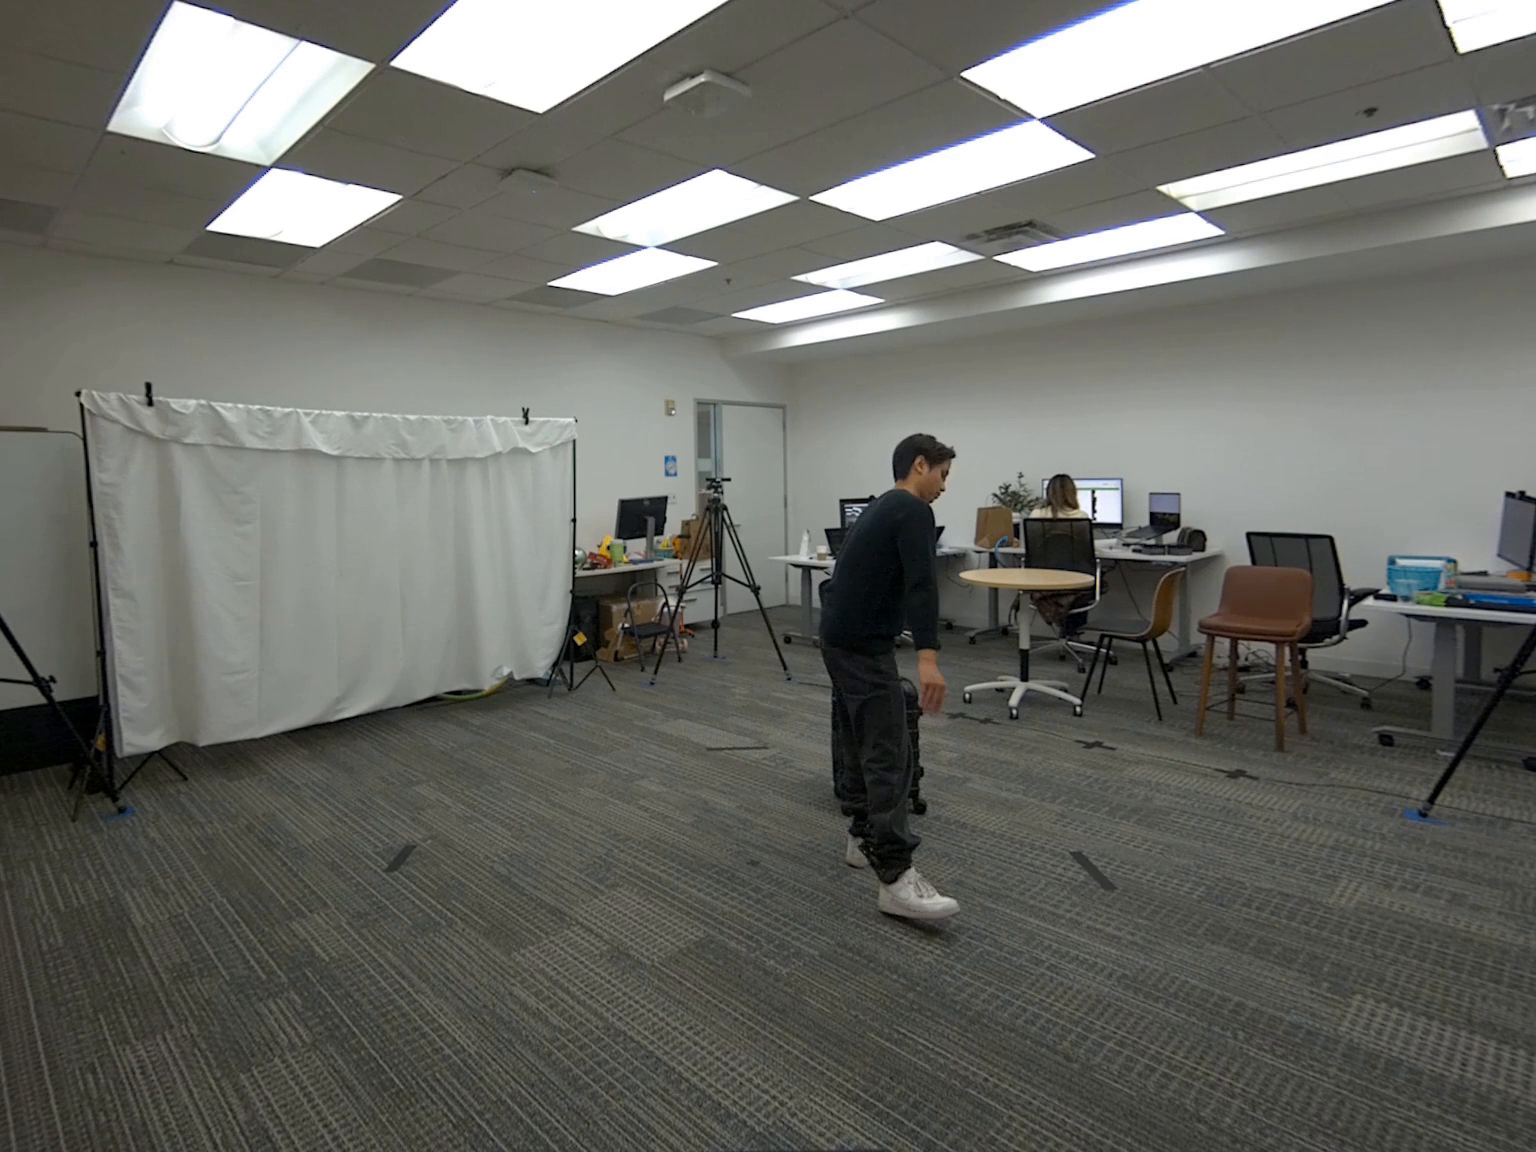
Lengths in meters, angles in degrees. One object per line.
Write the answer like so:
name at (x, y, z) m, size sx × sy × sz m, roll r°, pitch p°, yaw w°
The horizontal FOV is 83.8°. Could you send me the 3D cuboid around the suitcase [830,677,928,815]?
suitcase at (0.463, 0.700, 3.641) m, size 0.376 × 0.549 × 0.248 m, roll -1°, pitch 1°, yaw 1°
